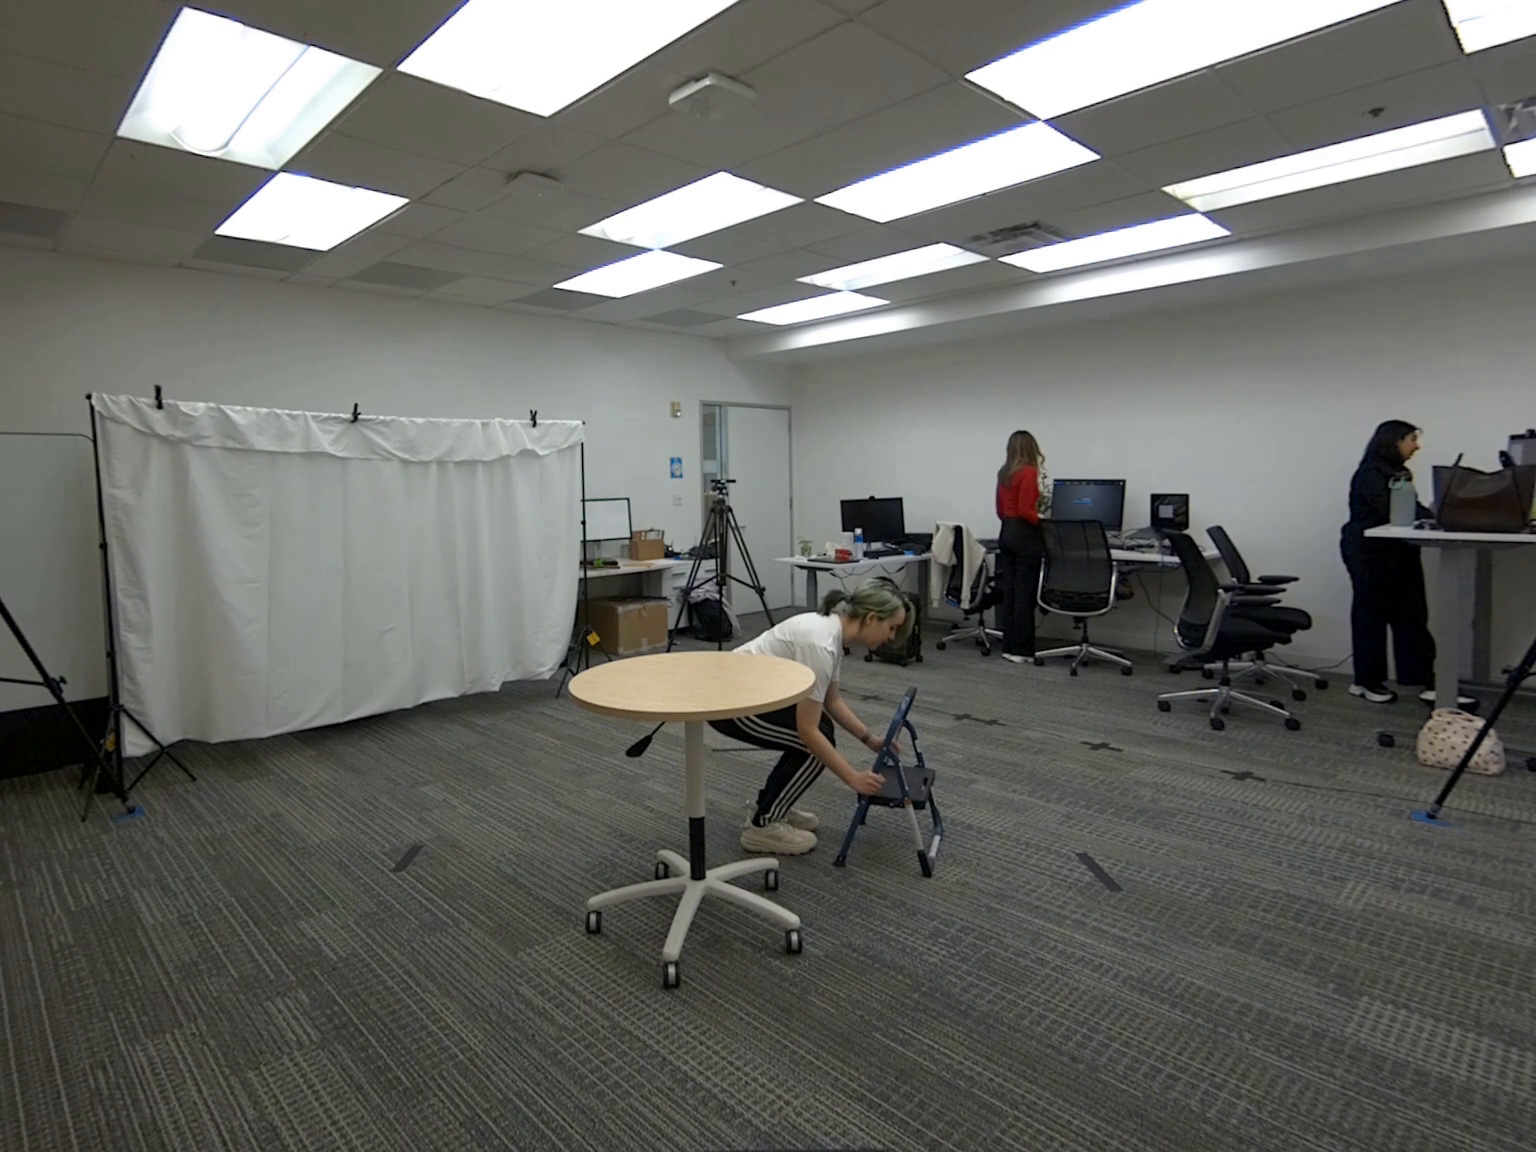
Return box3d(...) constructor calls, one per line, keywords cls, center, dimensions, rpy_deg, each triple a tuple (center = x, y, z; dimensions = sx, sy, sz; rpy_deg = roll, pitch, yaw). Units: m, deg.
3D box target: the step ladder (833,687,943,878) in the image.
box3d(cls="step ladder", center=(0.458, 0.722, 3.196), dimensions=(0.356, 0.604, 0.424), rpy_deg=(0, 5, 19))
